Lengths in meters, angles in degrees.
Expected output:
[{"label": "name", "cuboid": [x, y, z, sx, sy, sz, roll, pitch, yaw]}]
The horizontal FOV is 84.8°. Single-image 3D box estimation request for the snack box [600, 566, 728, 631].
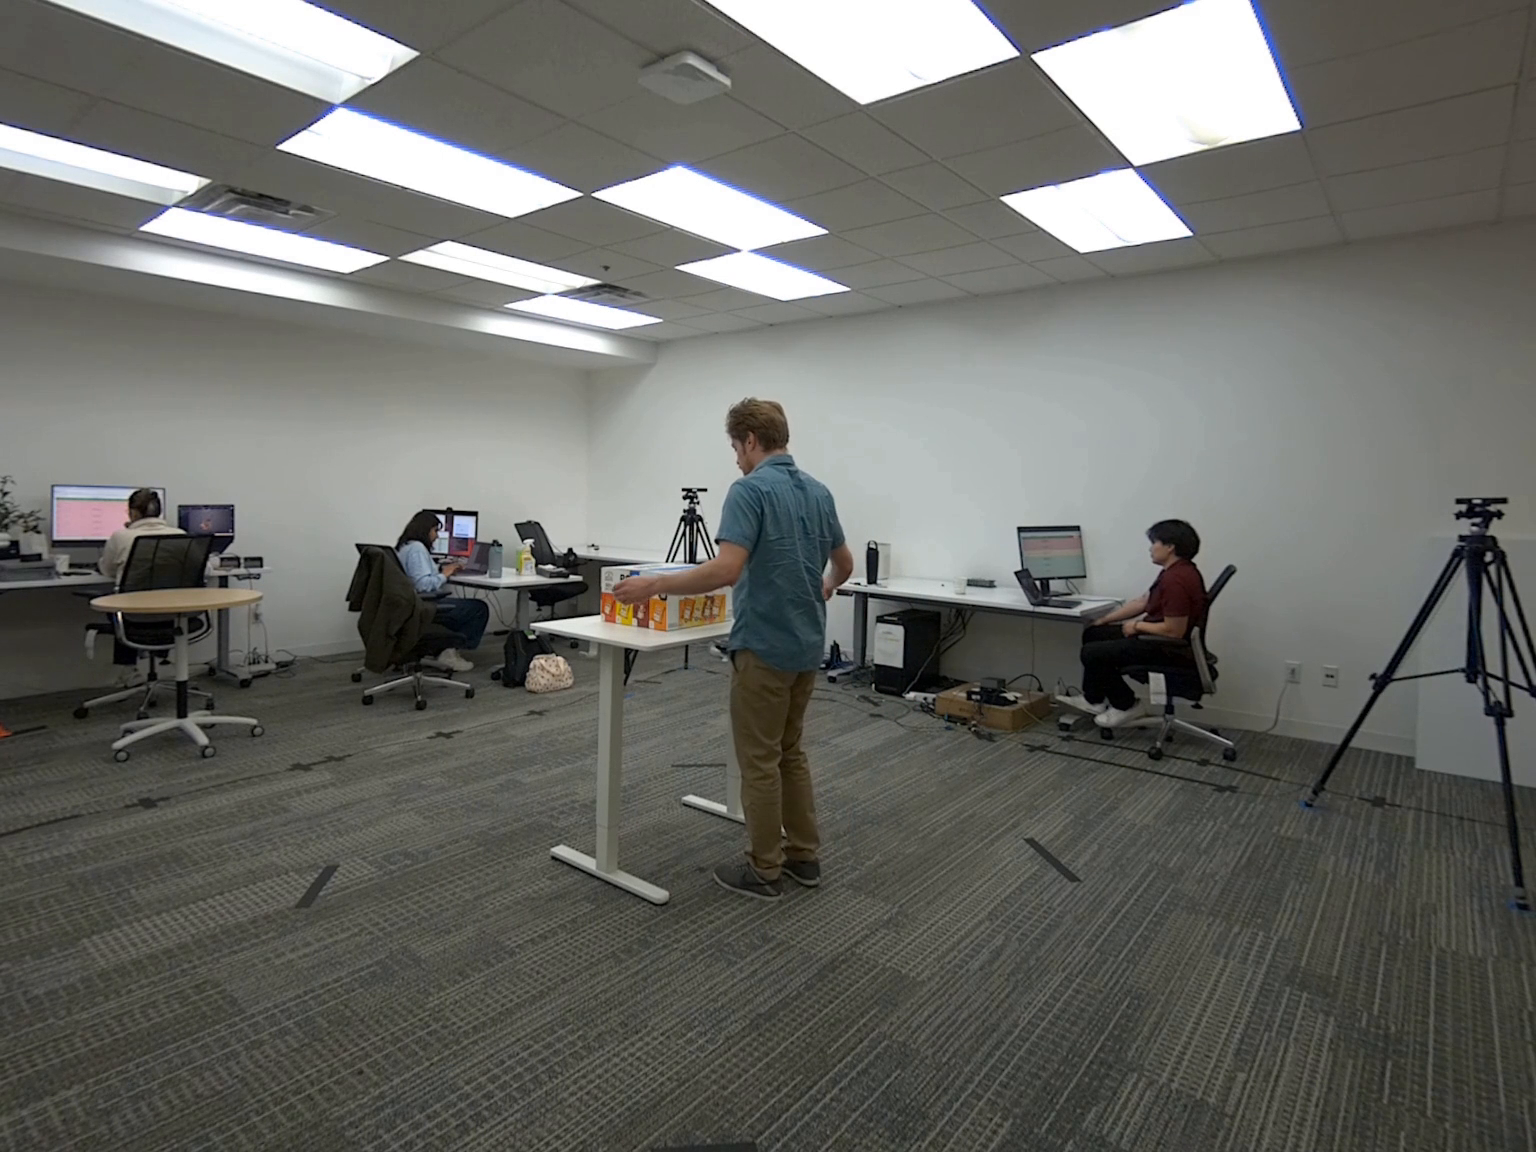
[{"label": "snack box", "cuboid": [-0.391, 0.067, 3.257, 0.352, 0.205, 0.393, 6, 6, 36]}]
